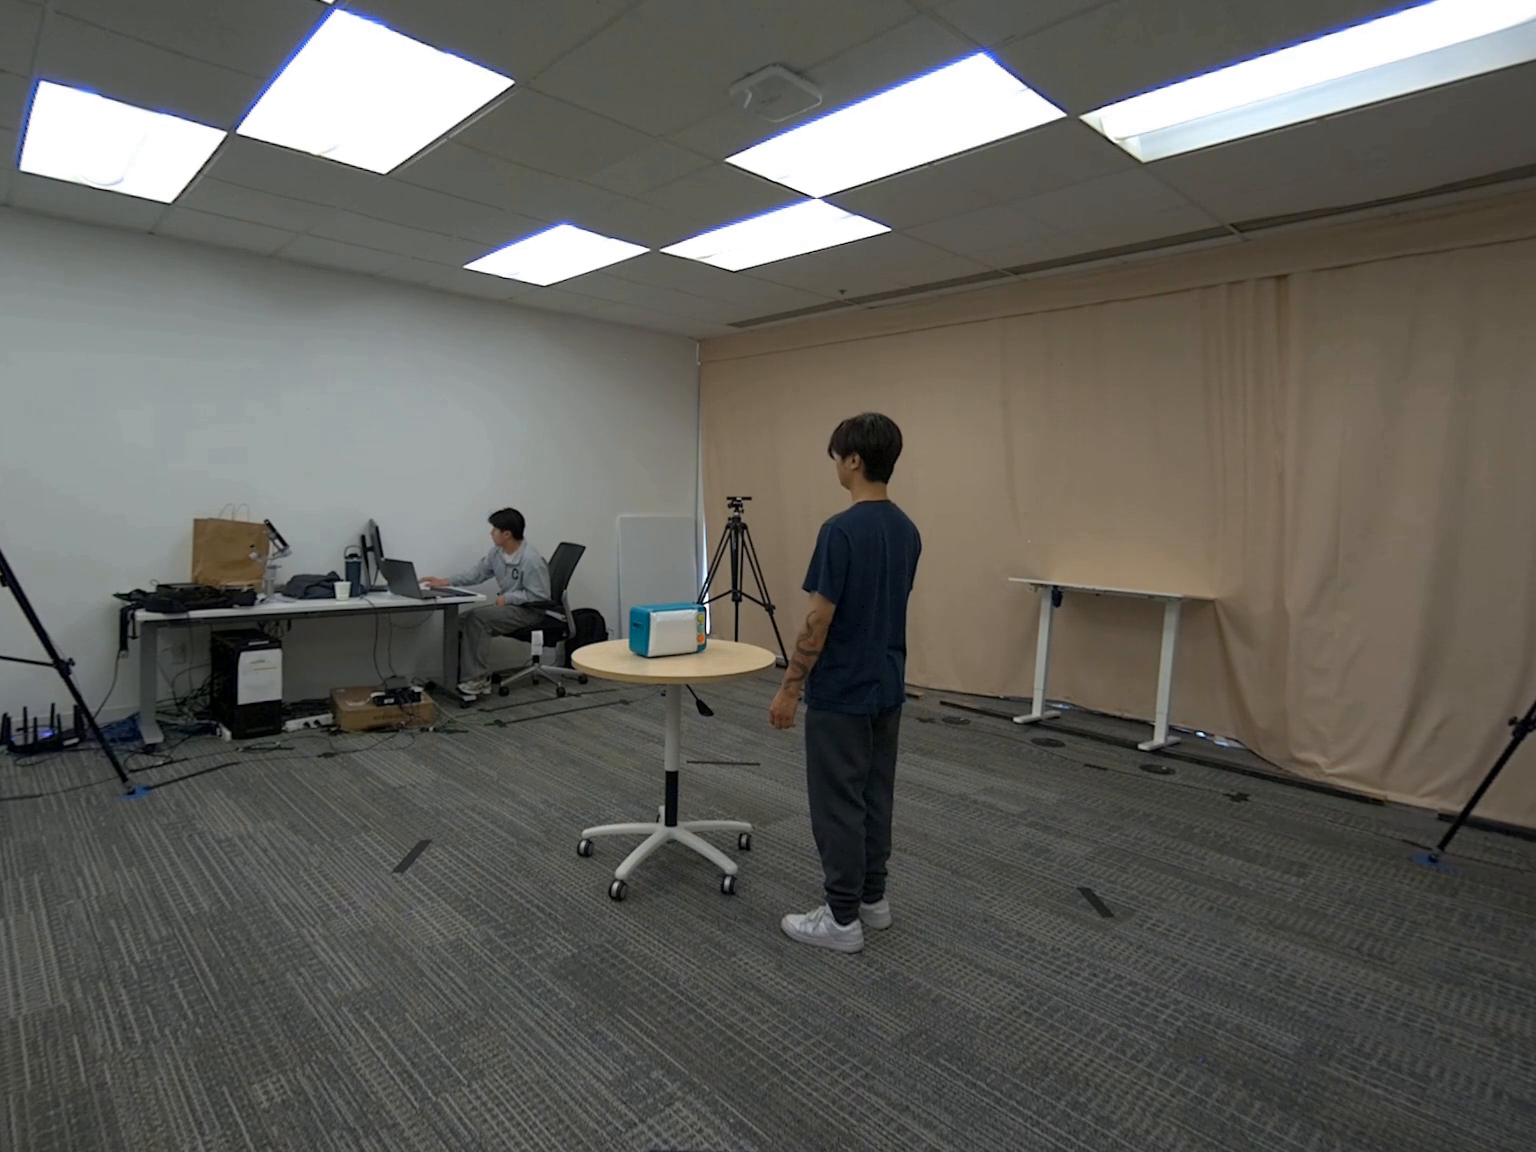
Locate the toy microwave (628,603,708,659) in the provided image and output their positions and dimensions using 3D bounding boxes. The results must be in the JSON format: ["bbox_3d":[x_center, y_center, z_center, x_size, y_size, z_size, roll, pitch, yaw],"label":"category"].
[{"bbox_3d":[-0.378,0.204,3.189,0.280,0.183,0.156,-2,6,-38],"label":"toy microwave"}]
